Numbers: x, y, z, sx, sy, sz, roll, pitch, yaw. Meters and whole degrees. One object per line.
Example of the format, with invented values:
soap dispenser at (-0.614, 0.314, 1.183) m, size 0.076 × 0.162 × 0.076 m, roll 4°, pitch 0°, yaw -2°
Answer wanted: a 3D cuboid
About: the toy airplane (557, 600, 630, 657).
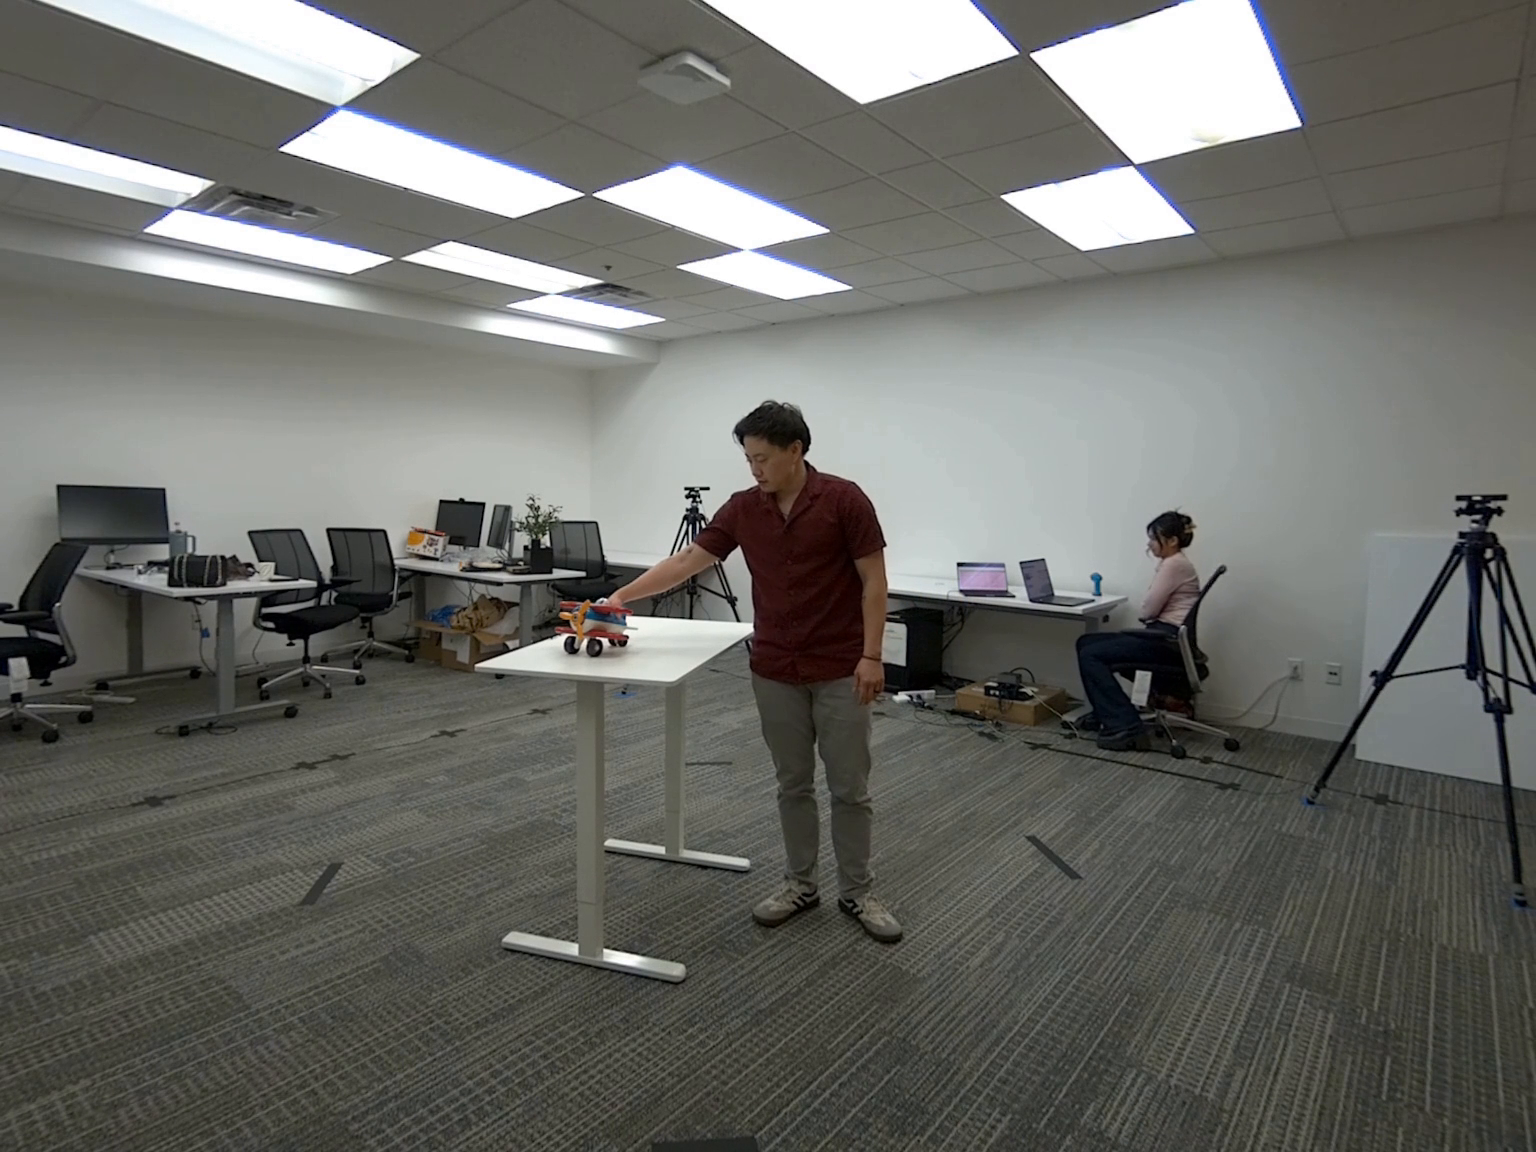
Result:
toy airplane at (-0.548, 0.155, 2.642) m, size 0.251 × 0.156 × 0.260 m, roll -1°, pitch 5°, yaw -1°
